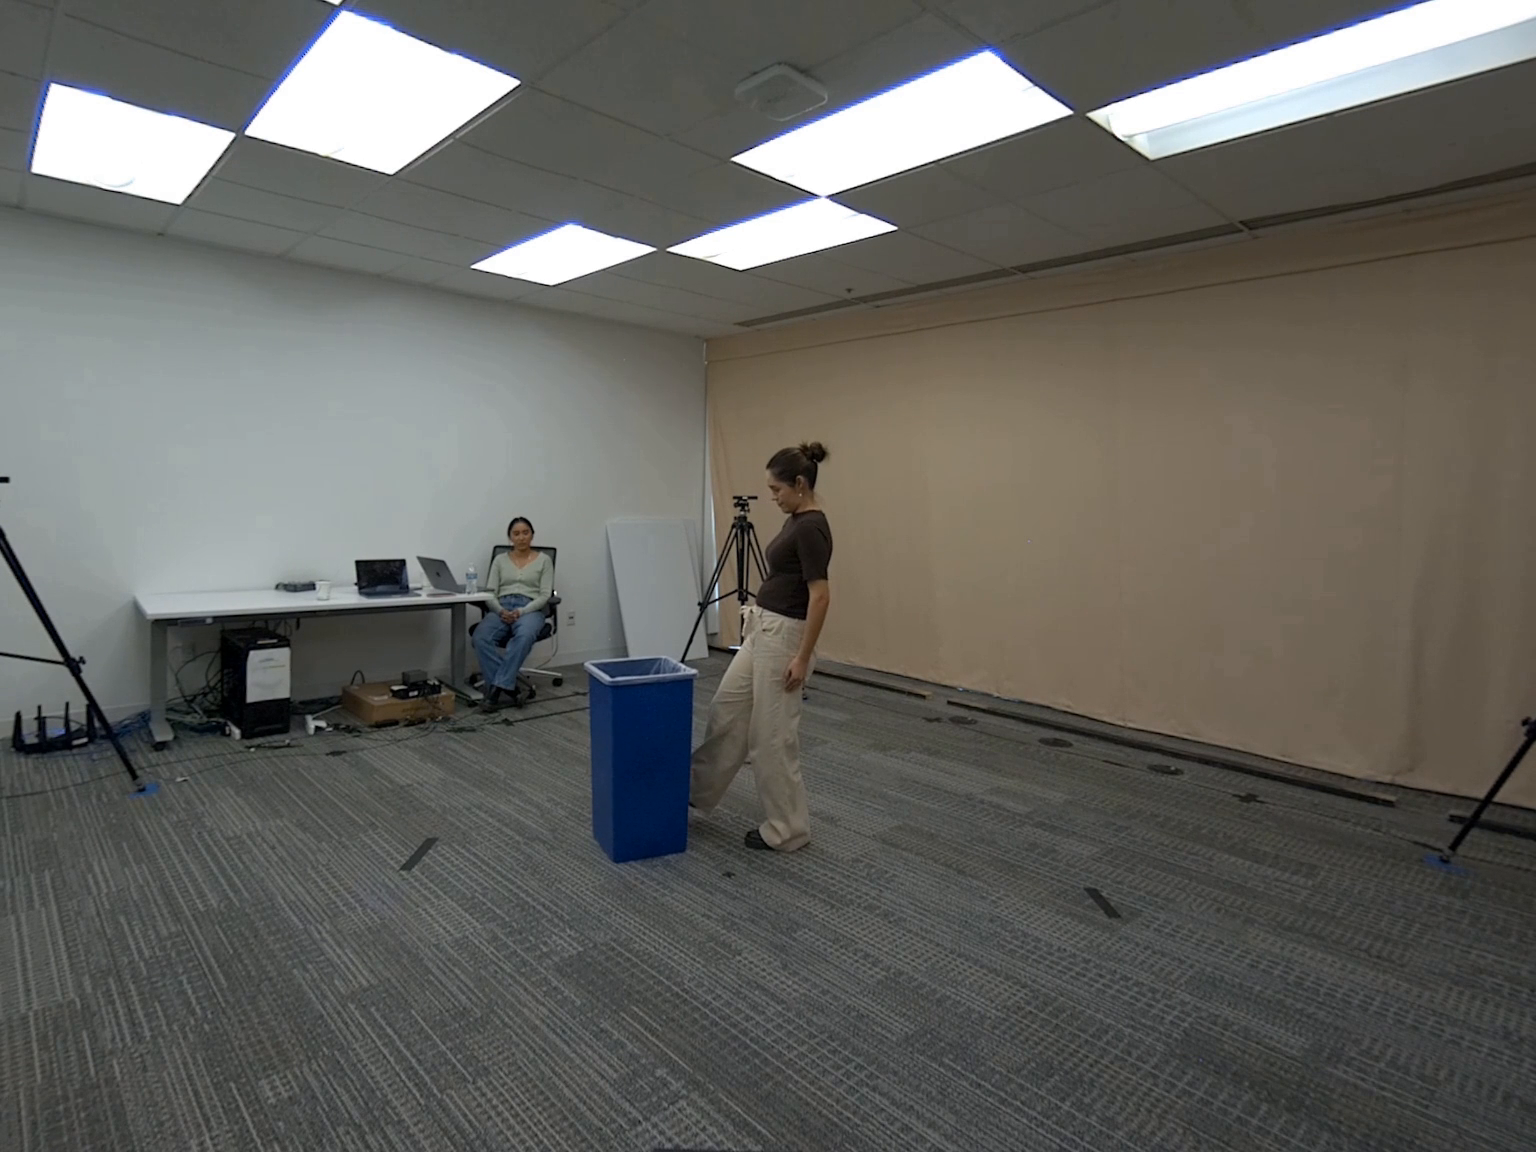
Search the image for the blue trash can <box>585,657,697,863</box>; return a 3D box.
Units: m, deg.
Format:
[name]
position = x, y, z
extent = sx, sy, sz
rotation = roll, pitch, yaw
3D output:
[blue trash can]
position = -0.525, 0.714, 3.347
extent = 0.371, 0.712, 0.382
rotation = 0, 4, -26
